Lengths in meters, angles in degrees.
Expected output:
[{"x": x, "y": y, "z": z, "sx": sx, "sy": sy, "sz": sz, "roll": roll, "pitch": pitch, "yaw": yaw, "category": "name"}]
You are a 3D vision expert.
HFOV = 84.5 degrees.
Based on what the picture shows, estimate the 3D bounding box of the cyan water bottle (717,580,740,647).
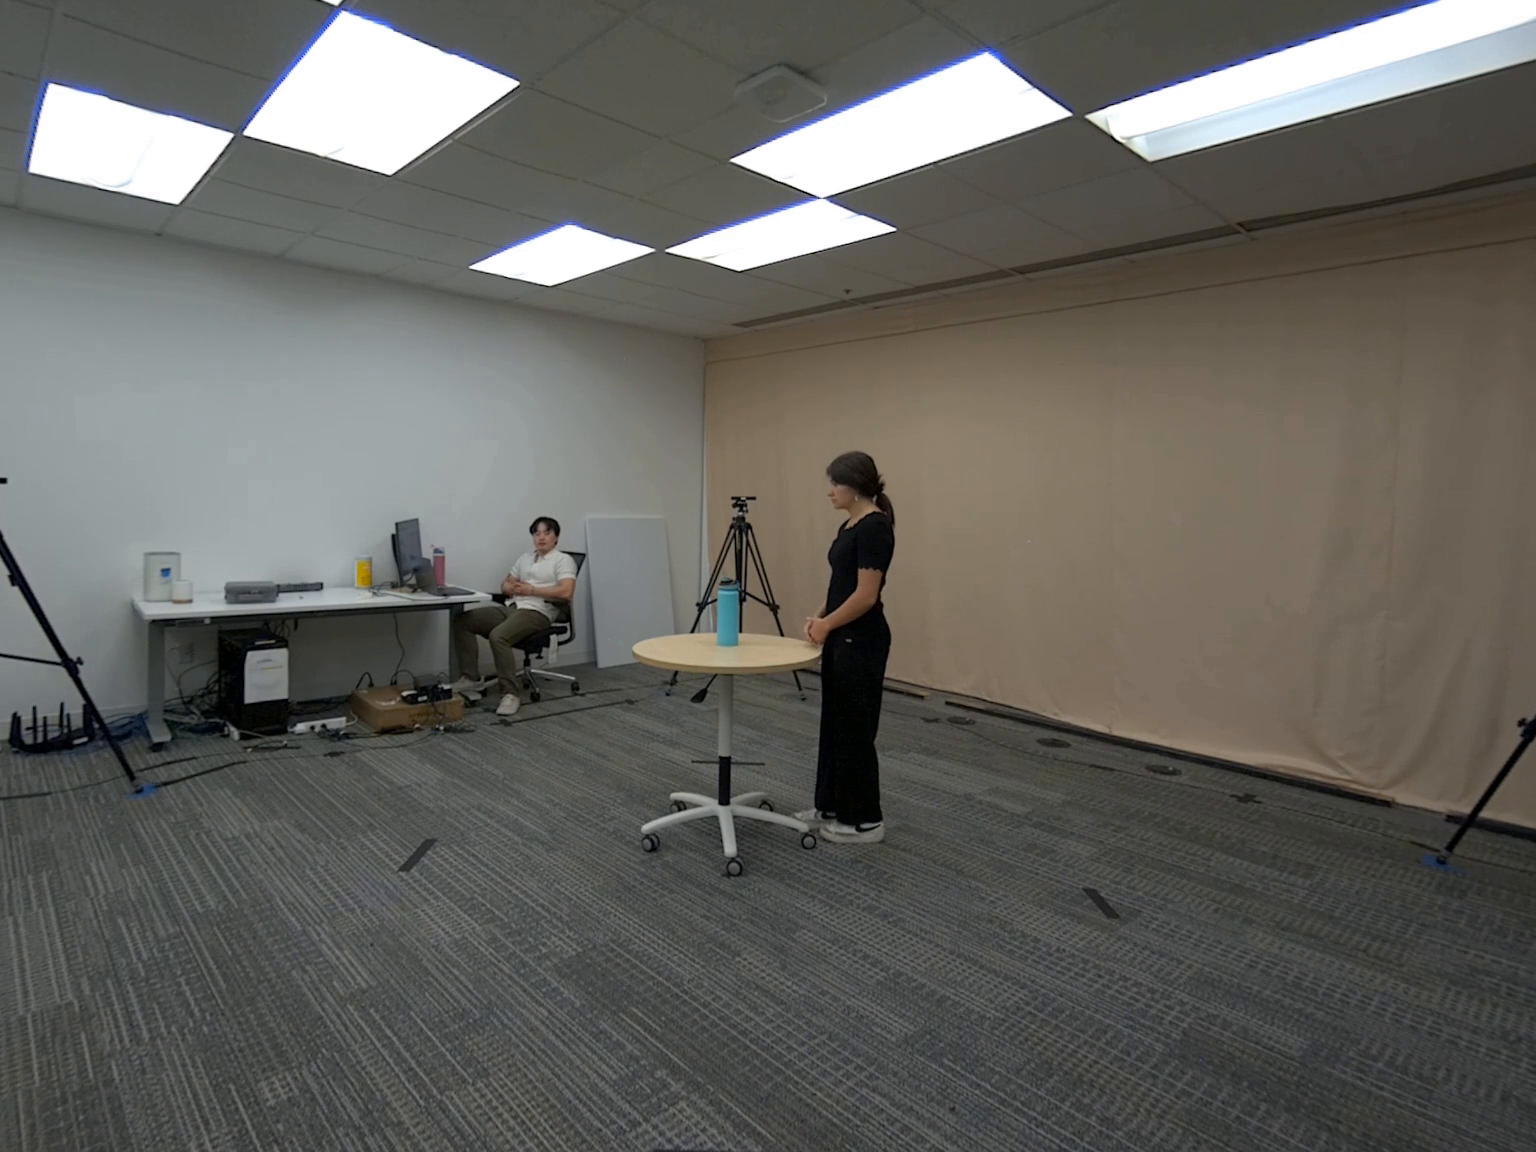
[{"x": -0.168, "y": 0.144, "z": 3.495, "sx": 0.092, "sy": 0.283, "sz": 0.092, "roll": 2, "pitch": 3, "yaw": -2, "category": "cyan water bottle"}]
